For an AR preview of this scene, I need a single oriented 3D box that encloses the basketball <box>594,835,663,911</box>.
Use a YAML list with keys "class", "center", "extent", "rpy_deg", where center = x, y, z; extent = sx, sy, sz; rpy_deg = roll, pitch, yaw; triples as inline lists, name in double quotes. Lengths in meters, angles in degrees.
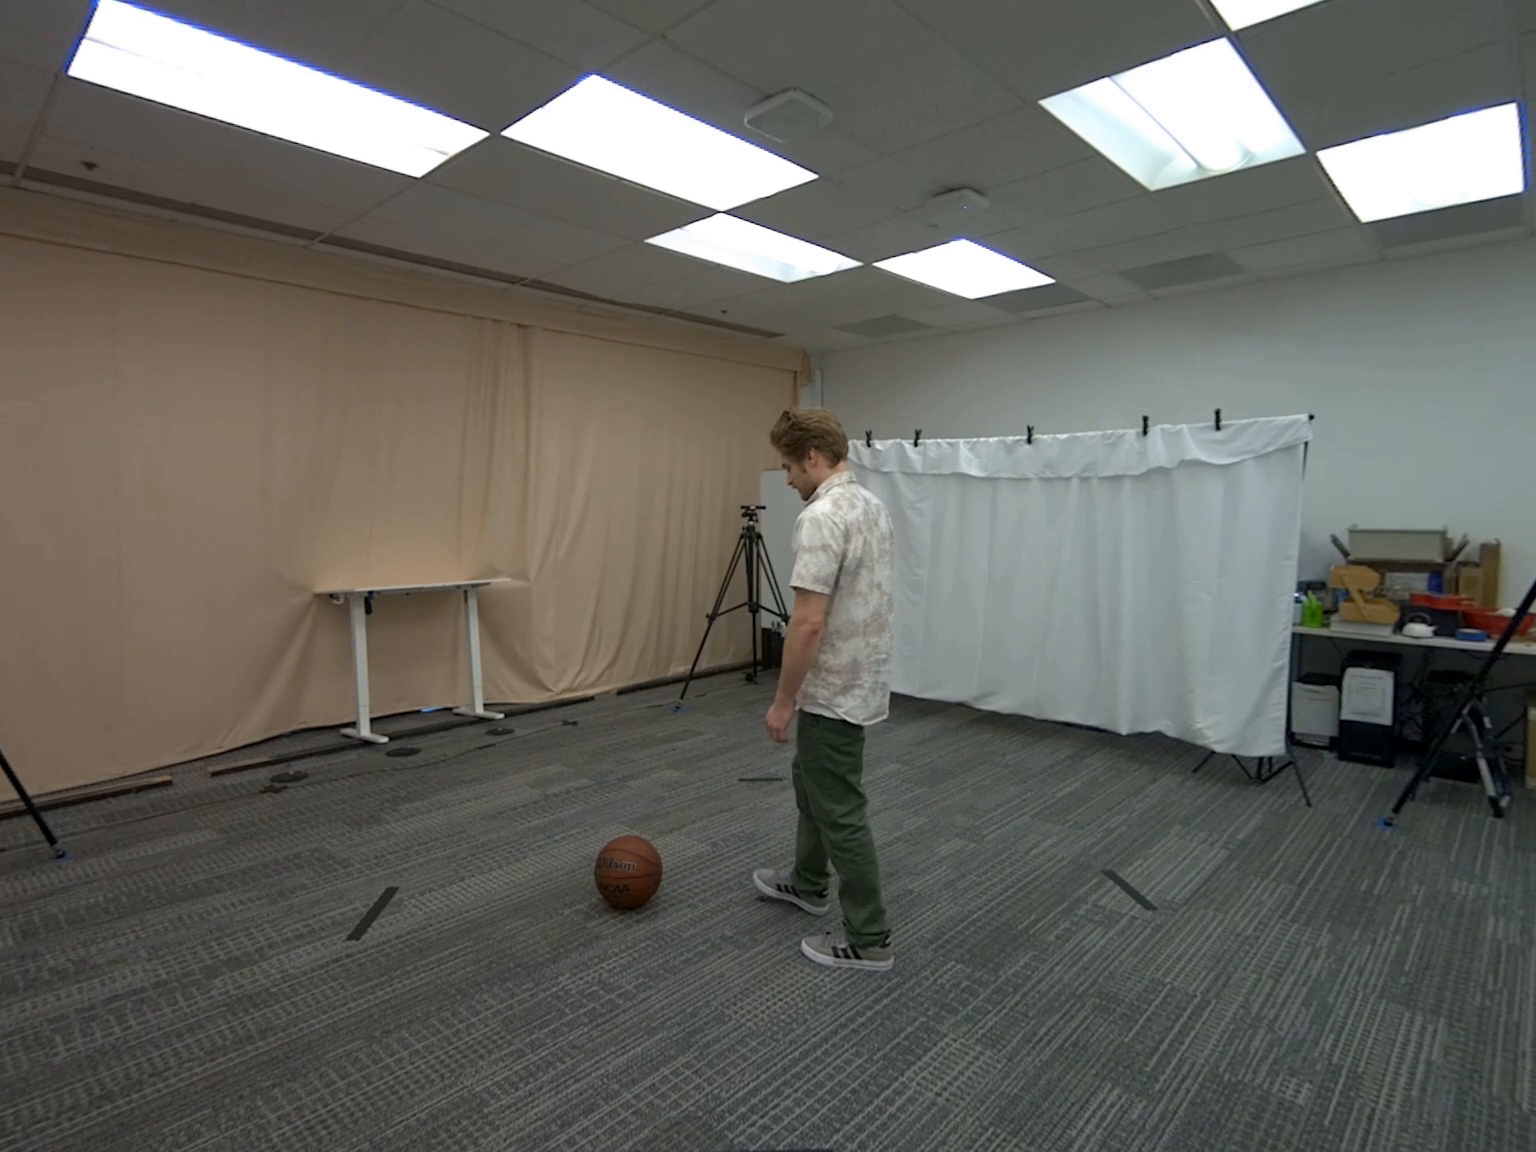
- class: "basketball"
  center: [-0.481, 1.028, 2.944]
  extent: [0.236, 0.235, 0.237]
  rpy_deg: [0, 4, -2]
